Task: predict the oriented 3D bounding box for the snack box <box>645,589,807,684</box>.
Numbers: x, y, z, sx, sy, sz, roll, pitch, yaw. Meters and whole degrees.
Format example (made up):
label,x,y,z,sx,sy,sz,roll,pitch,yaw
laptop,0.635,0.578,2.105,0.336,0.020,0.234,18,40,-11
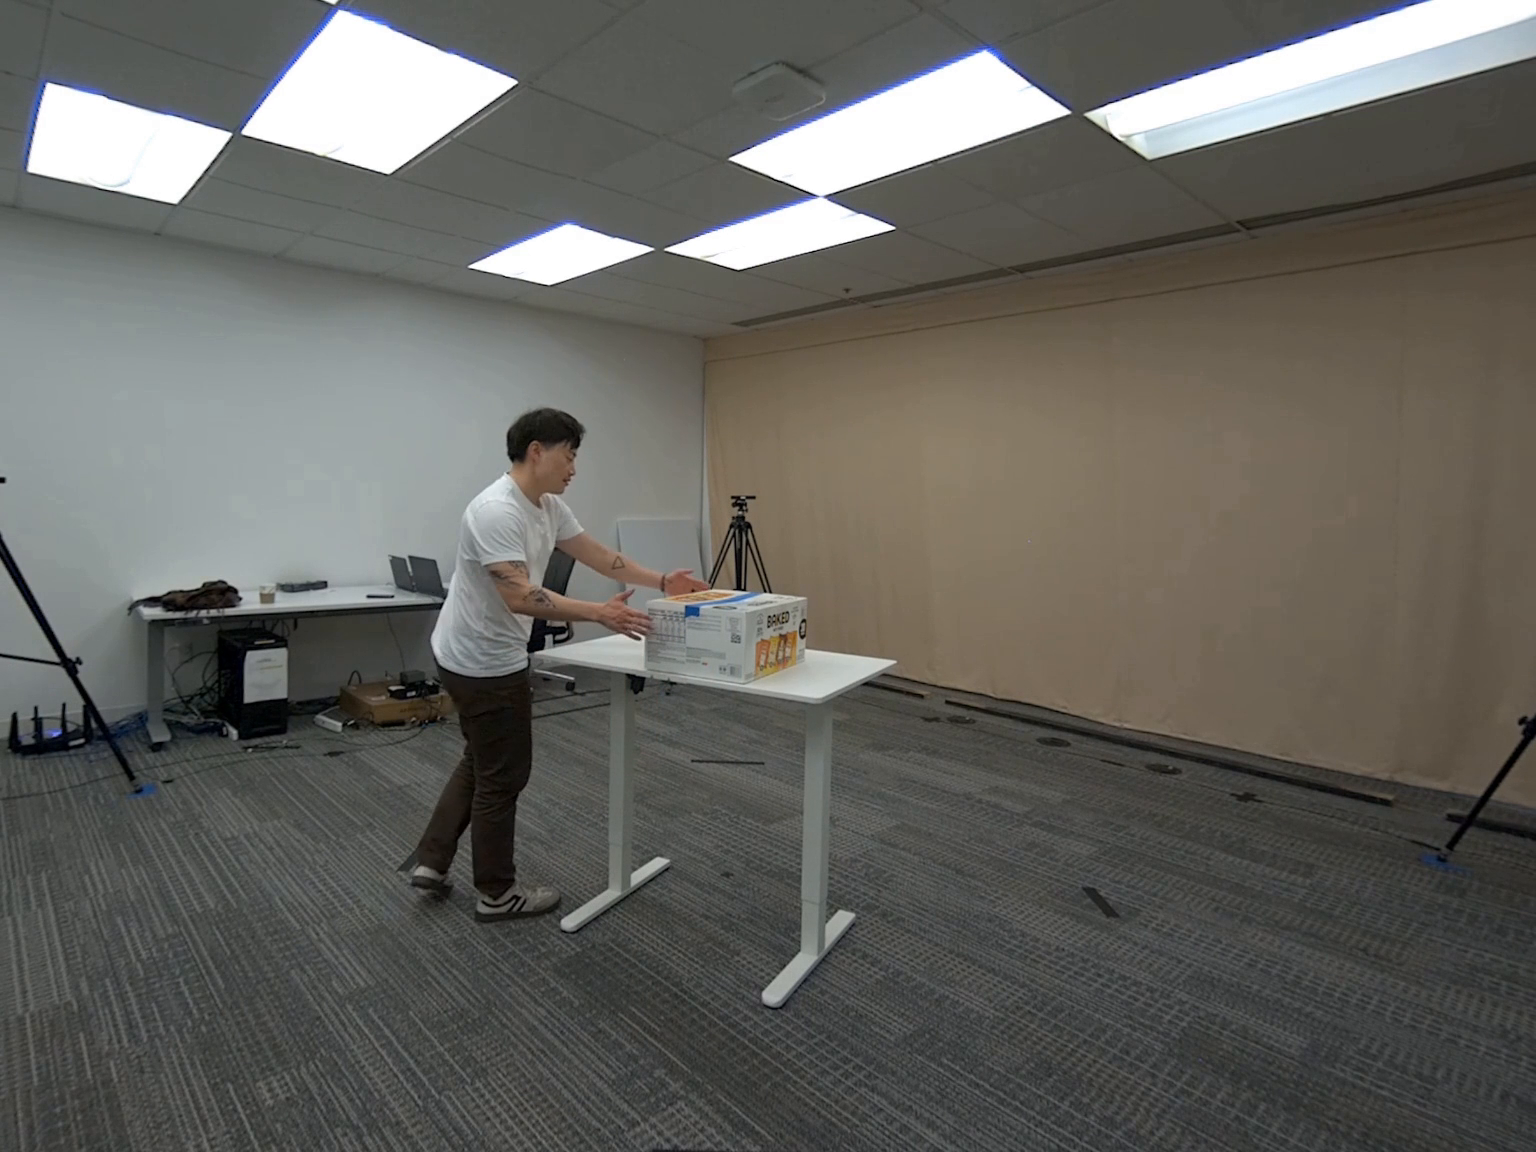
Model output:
label,x,y,z,sx,sy,sz,roll,pitch,yaw
snack box,-0.125,0.172,2.551,0.347,0.205,0.398,4,6,28
